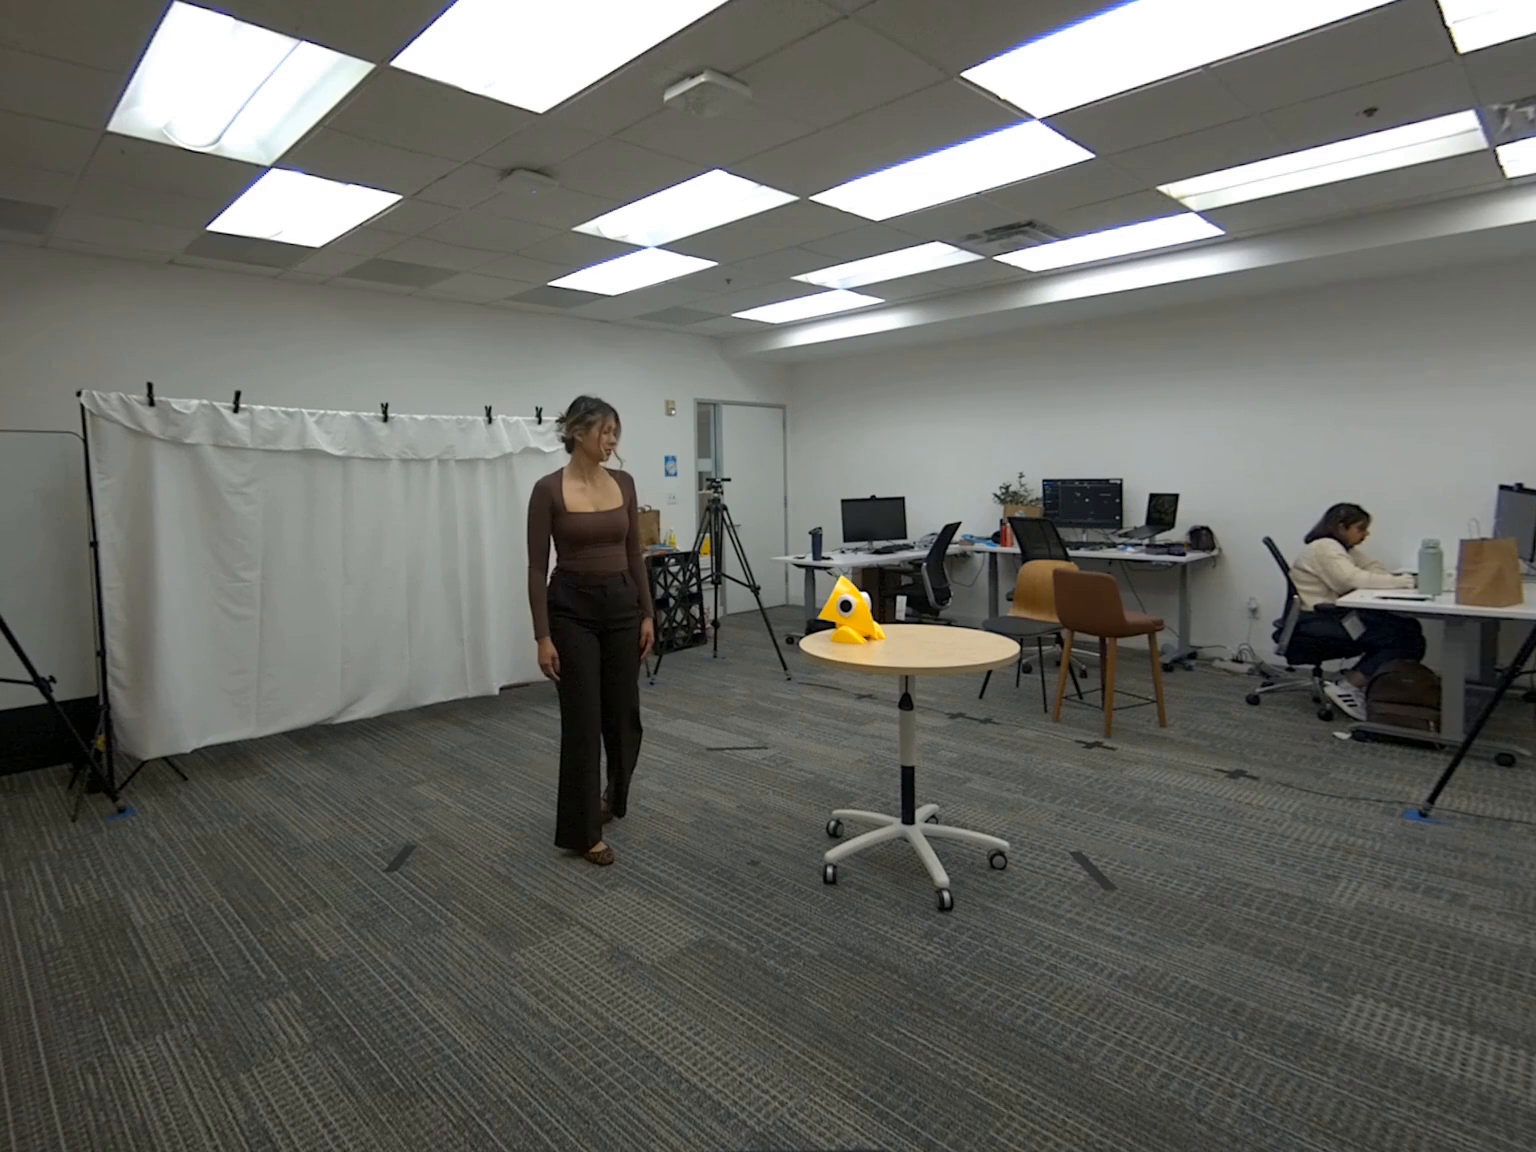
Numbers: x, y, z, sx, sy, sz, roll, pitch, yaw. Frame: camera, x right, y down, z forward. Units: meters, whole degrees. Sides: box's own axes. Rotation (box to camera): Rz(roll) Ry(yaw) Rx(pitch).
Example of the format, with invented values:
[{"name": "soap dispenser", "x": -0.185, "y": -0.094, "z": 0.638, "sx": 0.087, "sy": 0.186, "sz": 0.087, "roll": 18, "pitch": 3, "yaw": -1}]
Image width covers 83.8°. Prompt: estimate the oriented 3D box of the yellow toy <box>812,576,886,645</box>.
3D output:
[{"name": "yellow toy", "x": 0.319, "y": 0.117, "z": 3.160, "sx": 0.199, "sy": 0.230, "sz": 0.199, "roll": -5, "pitch": 6, "yaw": -42}]
